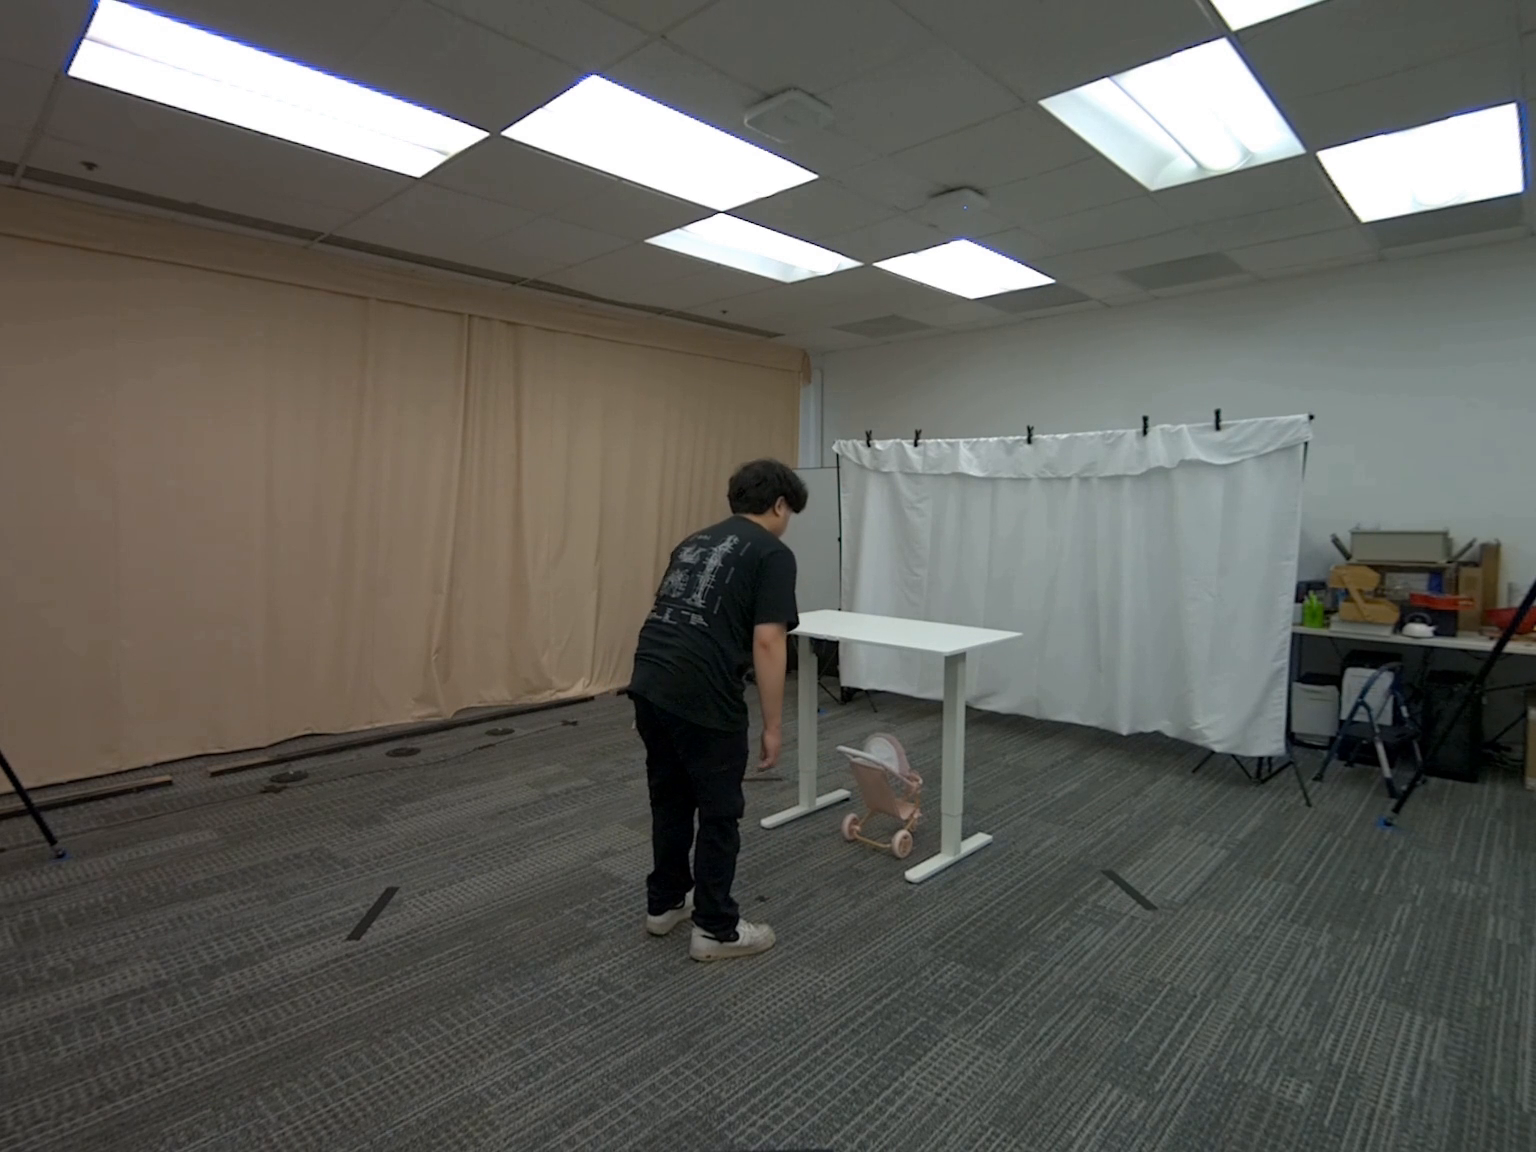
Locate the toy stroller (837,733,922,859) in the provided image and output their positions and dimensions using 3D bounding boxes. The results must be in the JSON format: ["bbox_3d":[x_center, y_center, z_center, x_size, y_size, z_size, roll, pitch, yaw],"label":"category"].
[{"bbox_3d":[0.489,0.877,3.453,0.334,0.529,0.291,-23,18,-39],"label":"toy stroller"}]
